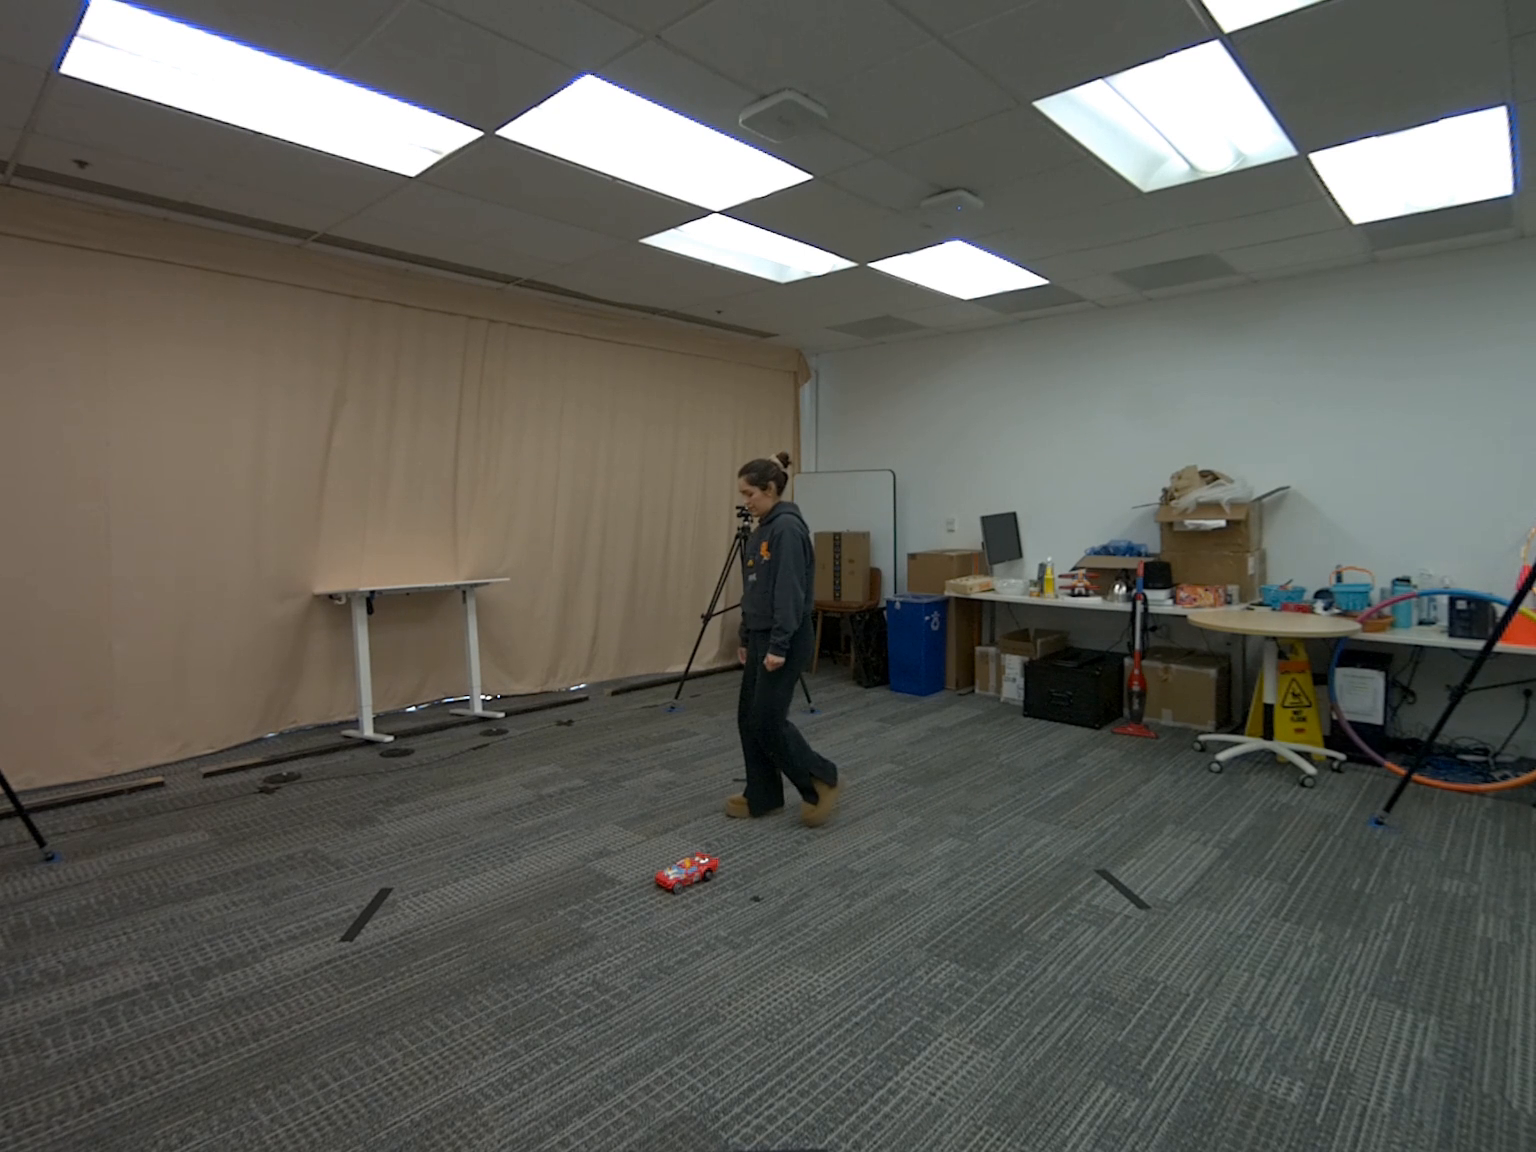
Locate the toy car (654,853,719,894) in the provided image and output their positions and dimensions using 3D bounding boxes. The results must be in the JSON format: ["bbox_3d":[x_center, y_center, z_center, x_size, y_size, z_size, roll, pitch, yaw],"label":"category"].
[{"bbox_3d":[-0.277,1.103,3.132,0.248,0.082,0.134,-20,15,-40],"label":"toy car"}]
